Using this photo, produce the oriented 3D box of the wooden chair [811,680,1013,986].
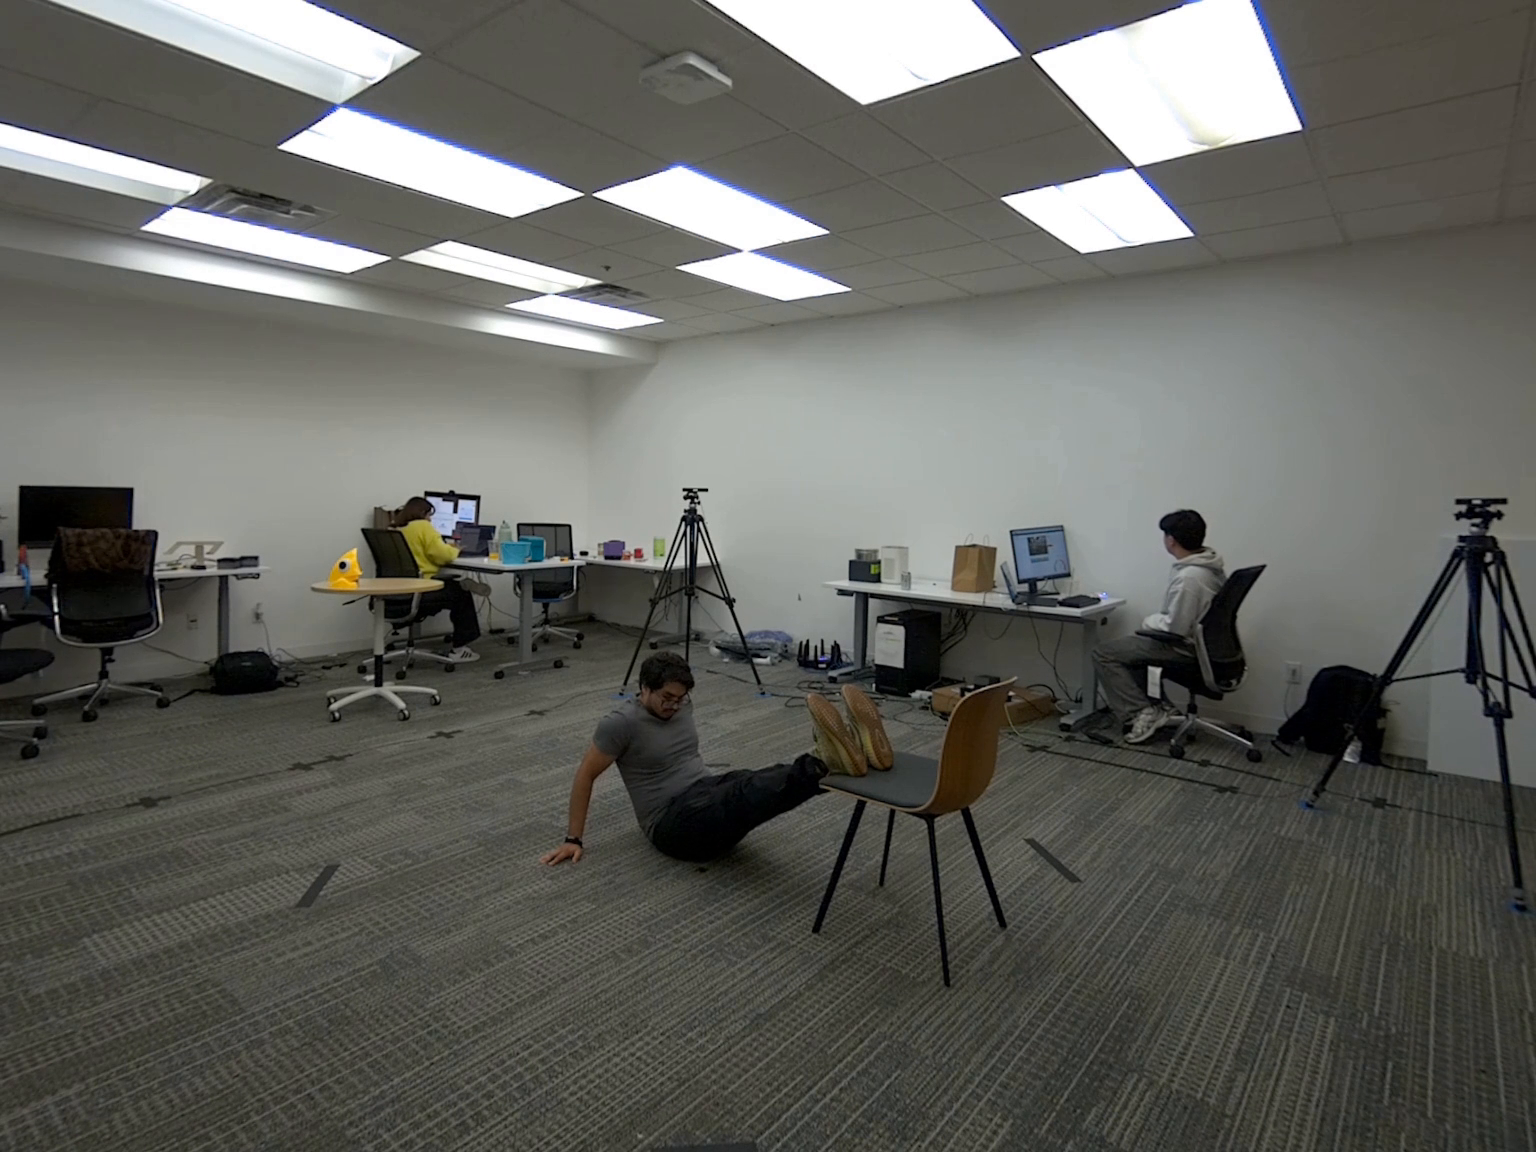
[{"bbox_3d":[0.454,0.701,2.690,0.541,0.873,0.464,9,7,37],"label":"wooden chair"}]
